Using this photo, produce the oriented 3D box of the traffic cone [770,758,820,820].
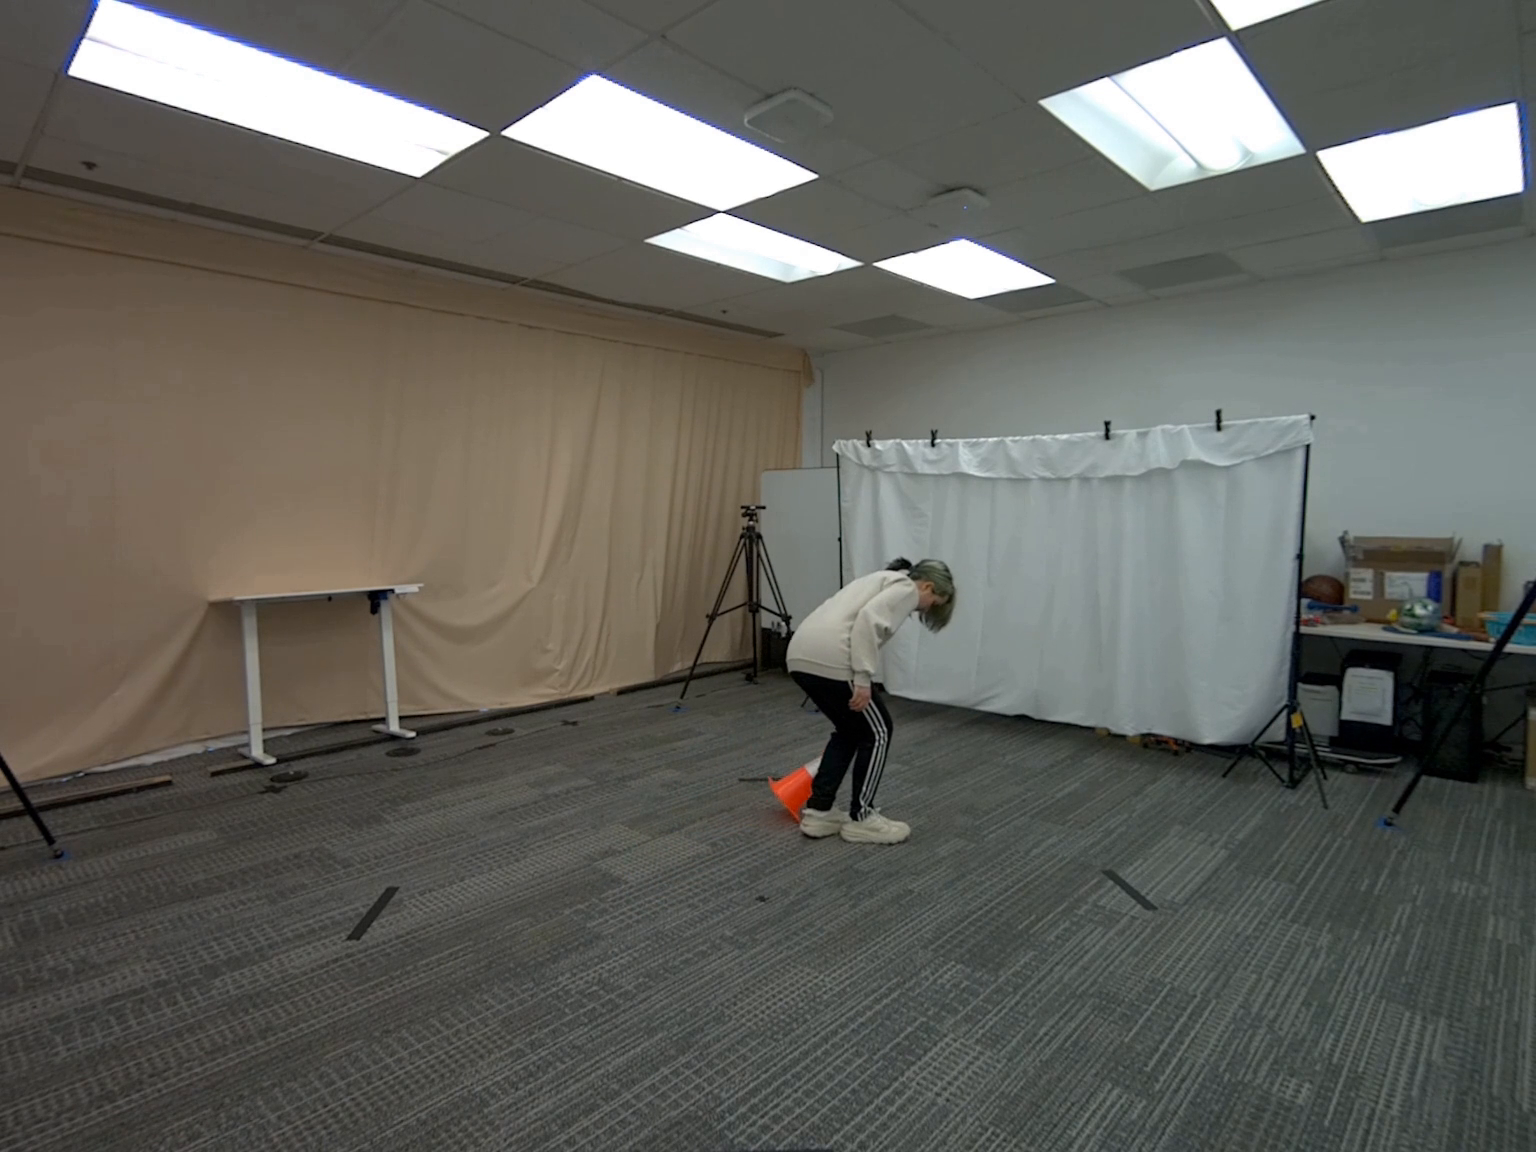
[{"bbox_3d":[0.215,0.881,3.784,0.383,0.204,0.205,-39,0,-3],"label":"traffic cone"}]
